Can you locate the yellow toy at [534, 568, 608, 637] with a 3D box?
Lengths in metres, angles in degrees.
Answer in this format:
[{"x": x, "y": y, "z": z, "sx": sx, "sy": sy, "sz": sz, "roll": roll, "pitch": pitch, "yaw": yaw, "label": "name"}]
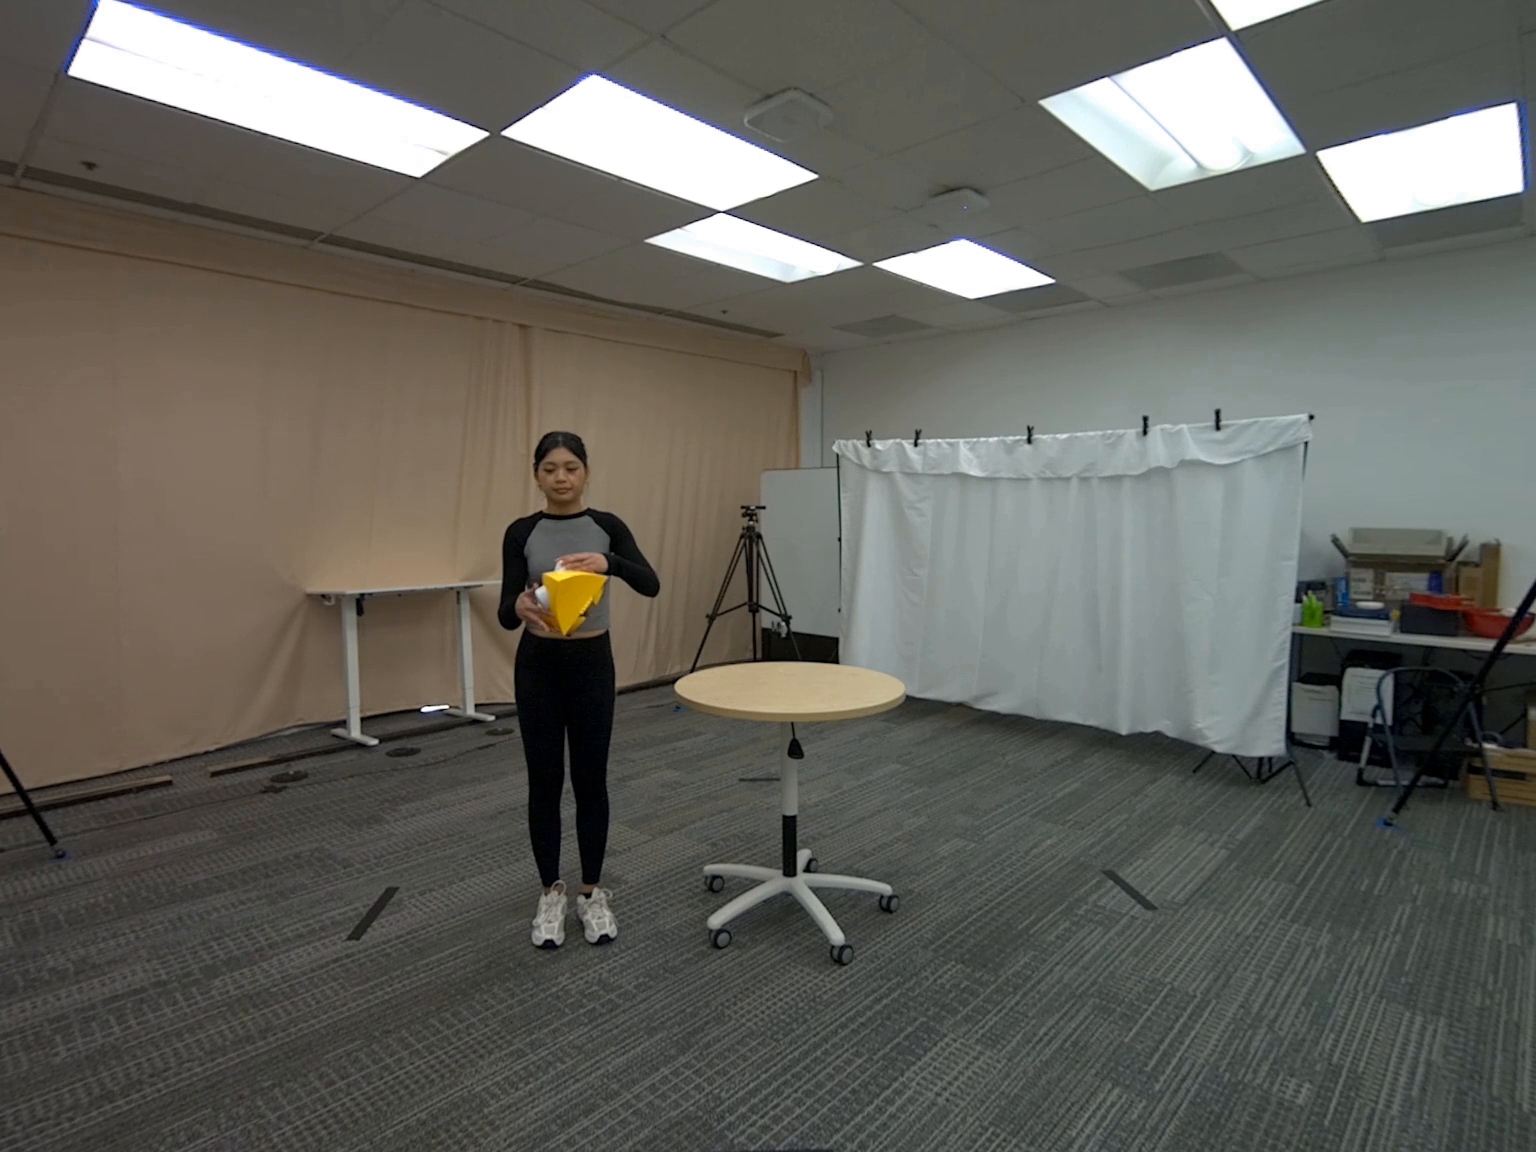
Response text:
[{"x": -0.590, "y": 0.031, "z": 2.377, "sx": 0.198, "sy": 0.204, "sz": 0.224, "roll": 31, "pitch": -13, "yaw": 24, "label": "yellow toy"}]
